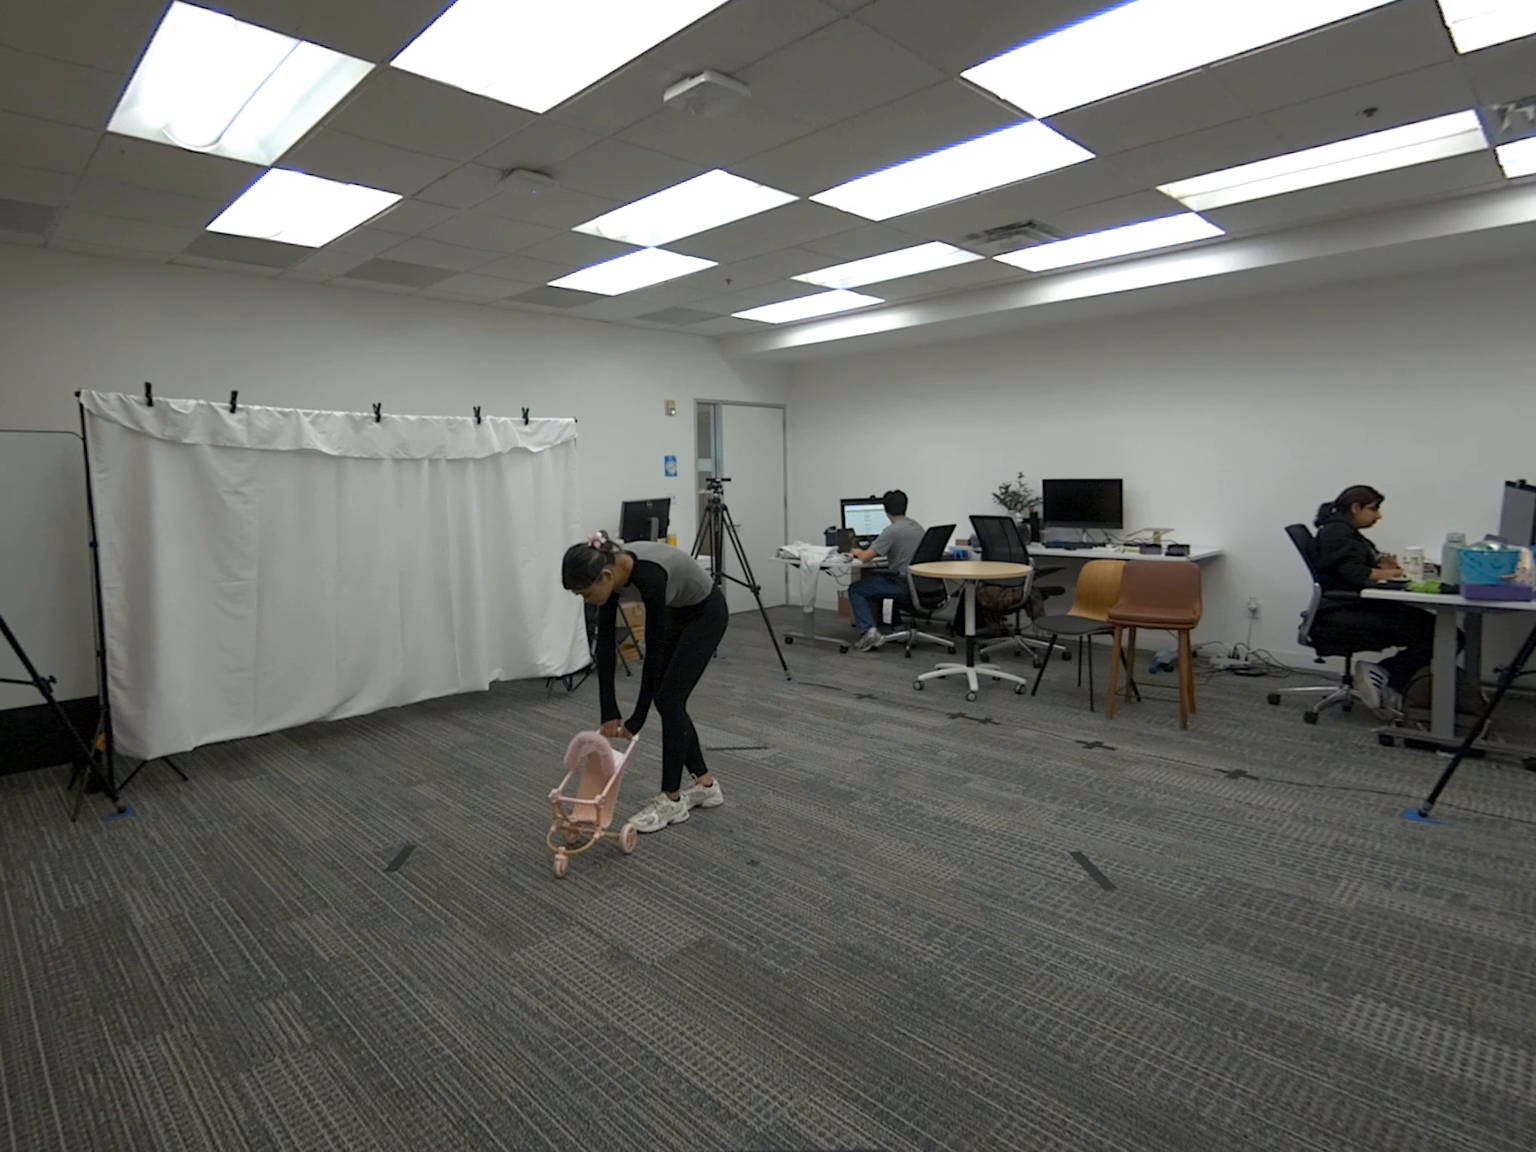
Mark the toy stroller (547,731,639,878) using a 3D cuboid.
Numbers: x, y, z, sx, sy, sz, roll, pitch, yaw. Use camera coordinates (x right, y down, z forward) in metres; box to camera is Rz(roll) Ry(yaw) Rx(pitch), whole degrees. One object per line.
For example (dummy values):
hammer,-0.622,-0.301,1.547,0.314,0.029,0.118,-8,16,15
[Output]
toy stroller,-0.670,0.820,3.192,0.288,0.540,0.330,-1,-13,27
